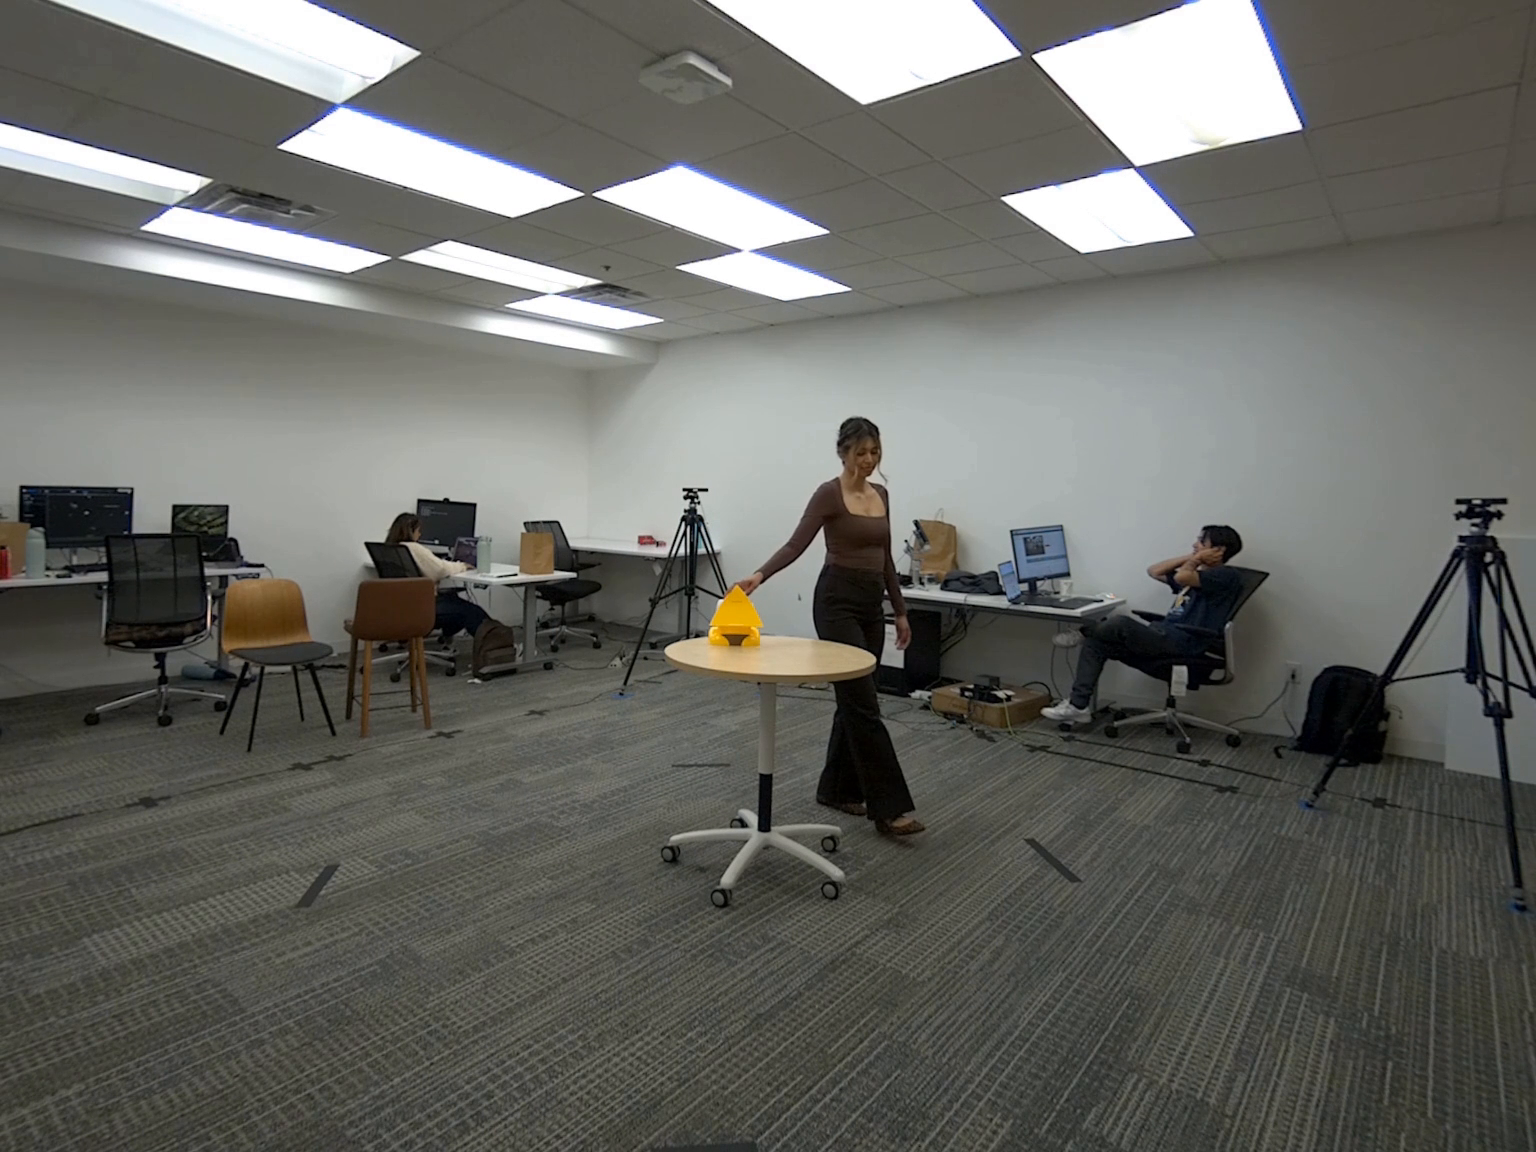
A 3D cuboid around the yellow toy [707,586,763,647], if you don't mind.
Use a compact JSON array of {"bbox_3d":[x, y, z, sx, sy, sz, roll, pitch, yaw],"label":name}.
[{"bbox_3d":[-0.137,0.141,3.287,0.204,0.230,0.194,1,4,-4],"label":"yellow toy"}]
